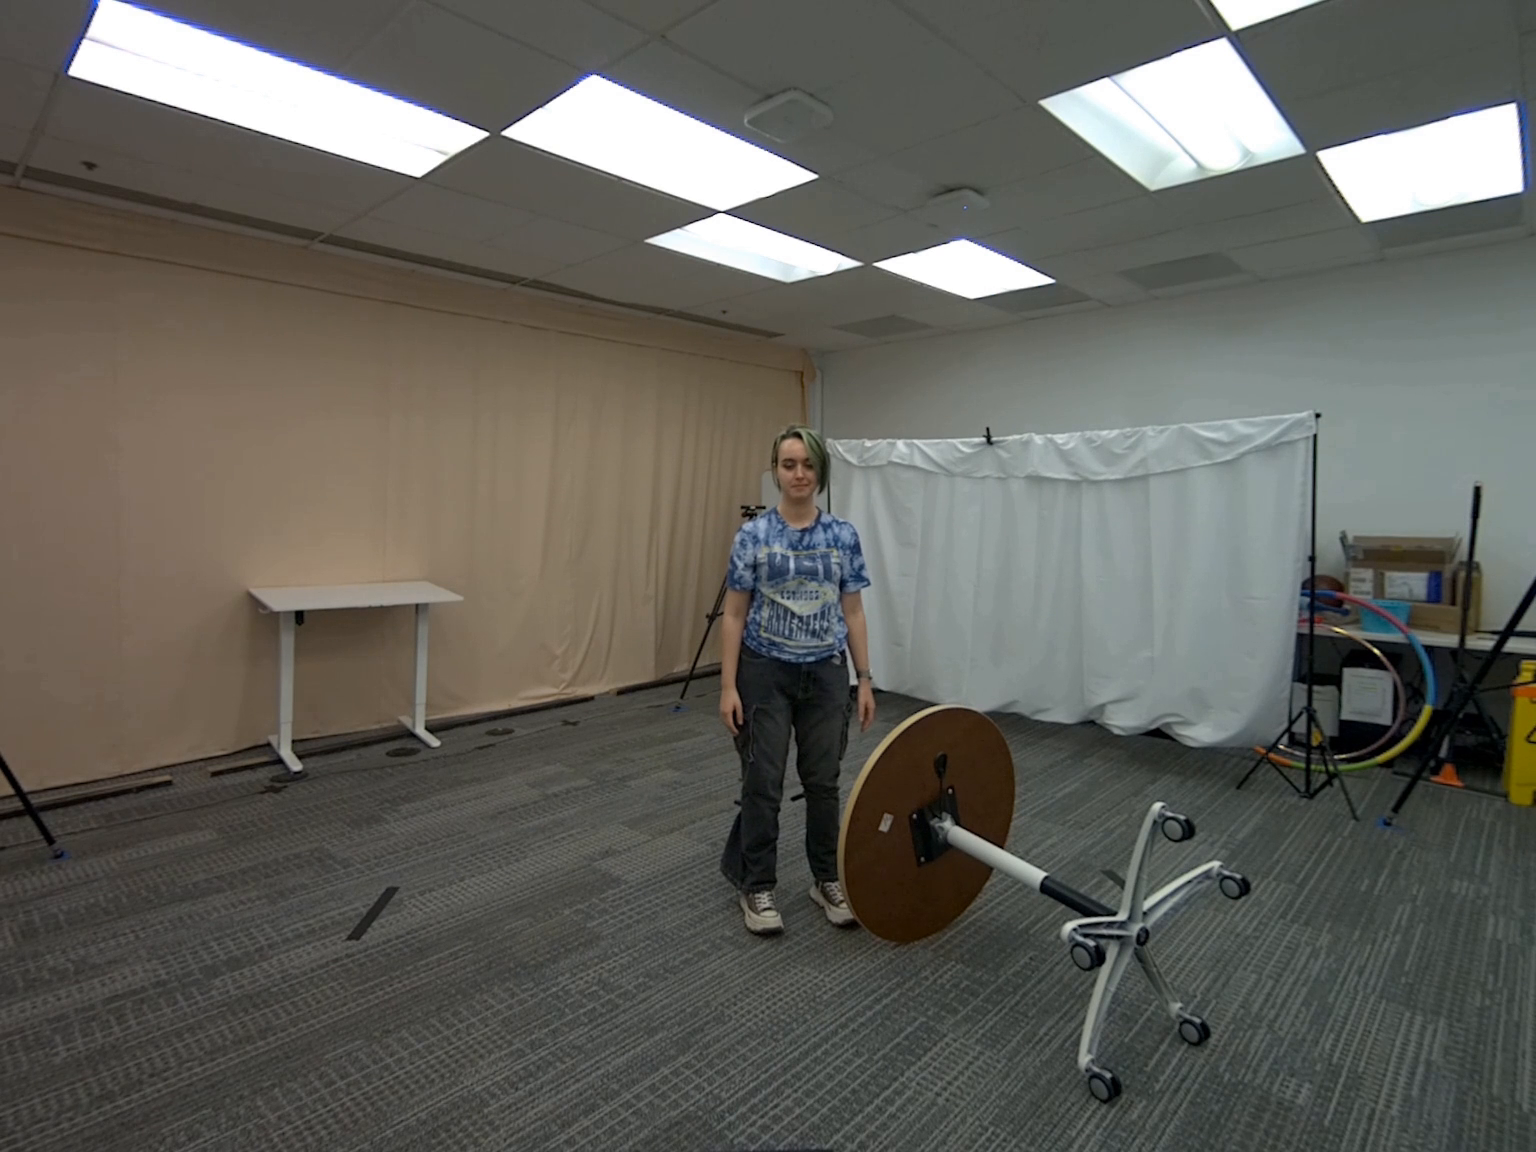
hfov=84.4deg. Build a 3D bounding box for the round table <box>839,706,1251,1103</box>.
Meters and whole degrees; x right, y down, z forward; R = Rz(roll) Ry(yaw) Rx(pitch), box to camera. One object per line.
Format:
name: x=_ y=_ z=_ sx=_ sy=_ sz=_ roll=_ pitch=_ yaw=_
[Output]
round table: x=0.751 y=0.856 z=2.343 sx=0.742 sy=0.760 sz=0.821 roll=-2 pitch=11 yaw=-34
